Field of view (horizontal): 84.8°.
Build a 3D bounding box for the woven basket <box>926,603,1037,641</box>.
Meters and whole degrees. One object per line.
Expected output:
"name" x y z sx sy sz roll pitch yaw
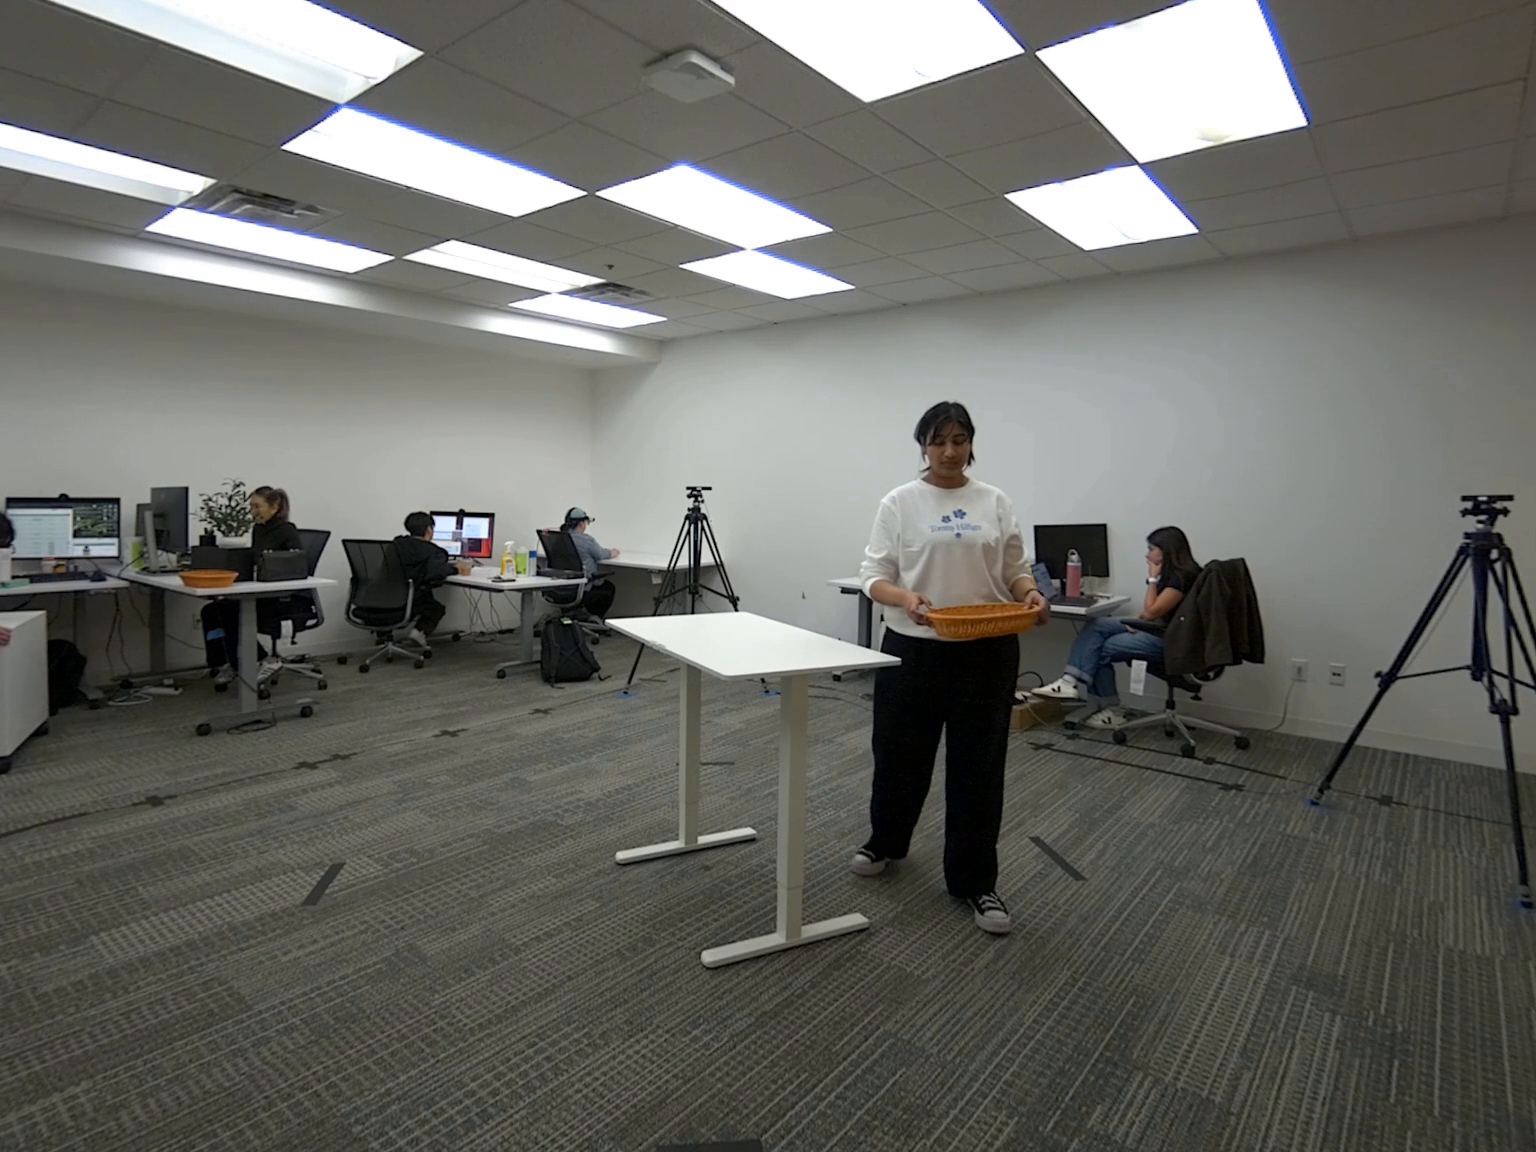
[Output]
"woven basket" 0.666 0.137 2.585 0.344 0.073 0.258 -6 5 -21
